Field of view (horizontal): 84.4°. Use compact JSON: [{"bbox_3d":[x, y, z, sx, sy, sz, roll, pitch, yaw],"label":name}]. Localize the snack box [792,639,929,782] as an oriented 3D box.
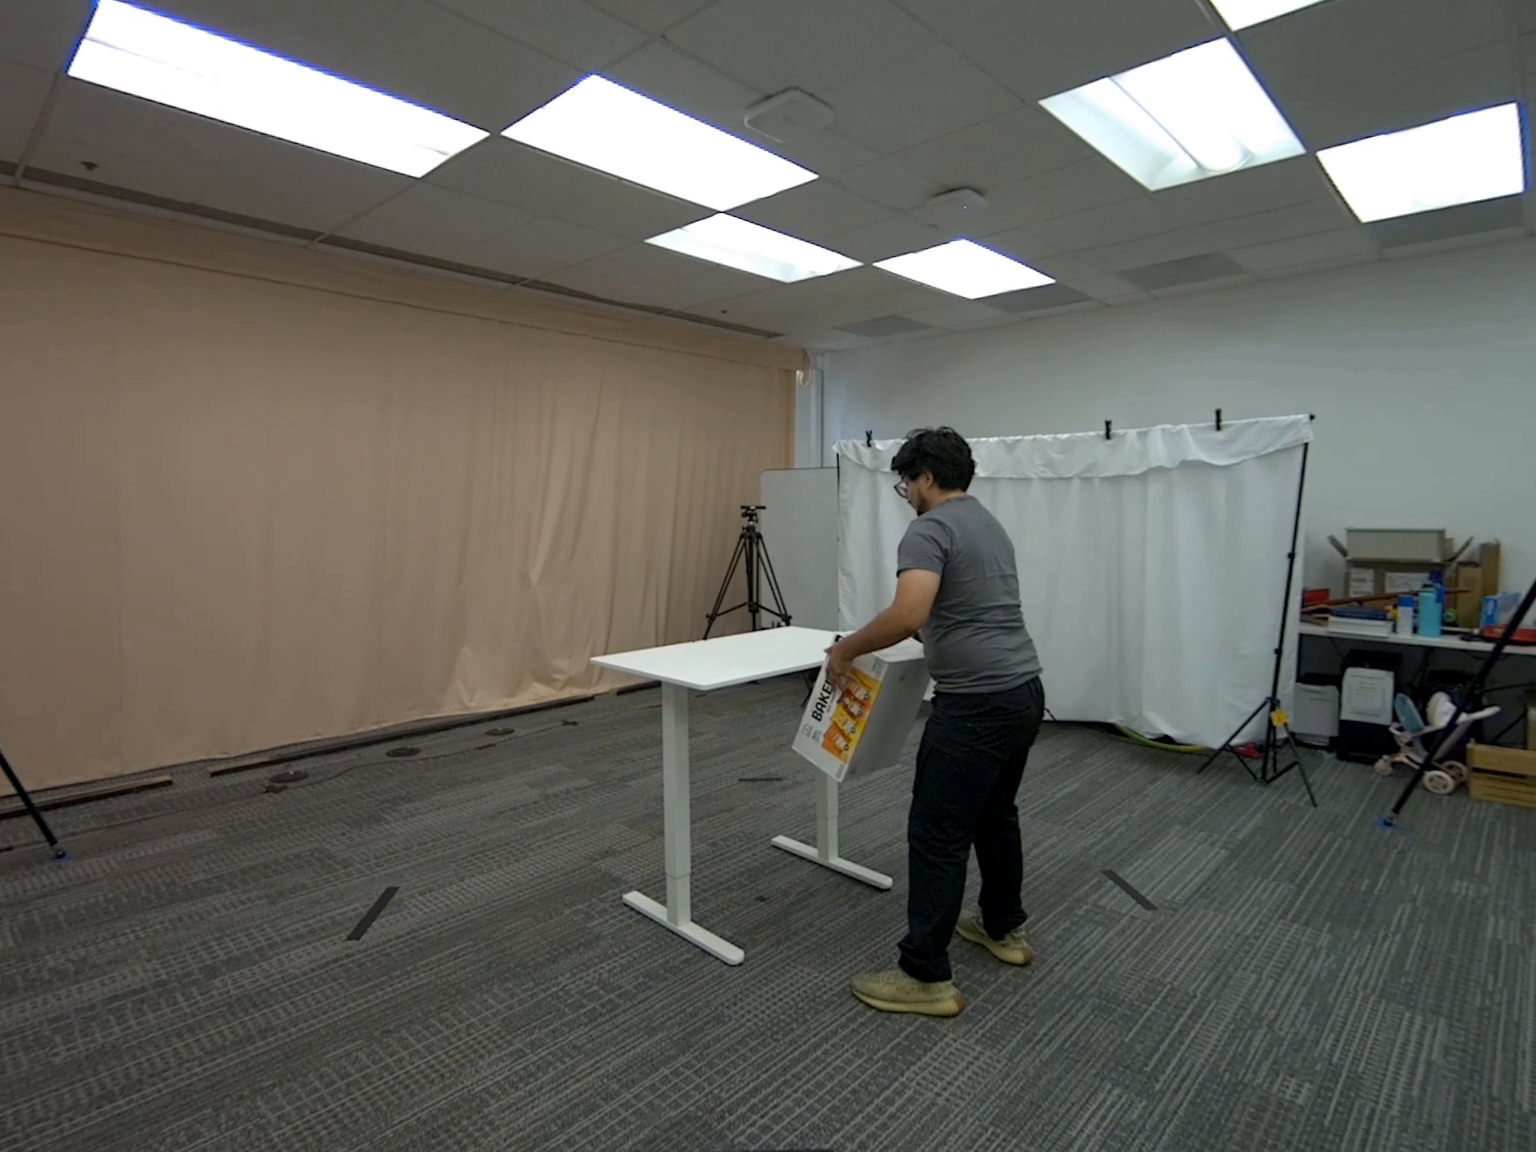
[{"bbox_3d":[0.324,0.401,2.653,0.213,0.404,0.329,29,16,35],"label":"snack box"}]
